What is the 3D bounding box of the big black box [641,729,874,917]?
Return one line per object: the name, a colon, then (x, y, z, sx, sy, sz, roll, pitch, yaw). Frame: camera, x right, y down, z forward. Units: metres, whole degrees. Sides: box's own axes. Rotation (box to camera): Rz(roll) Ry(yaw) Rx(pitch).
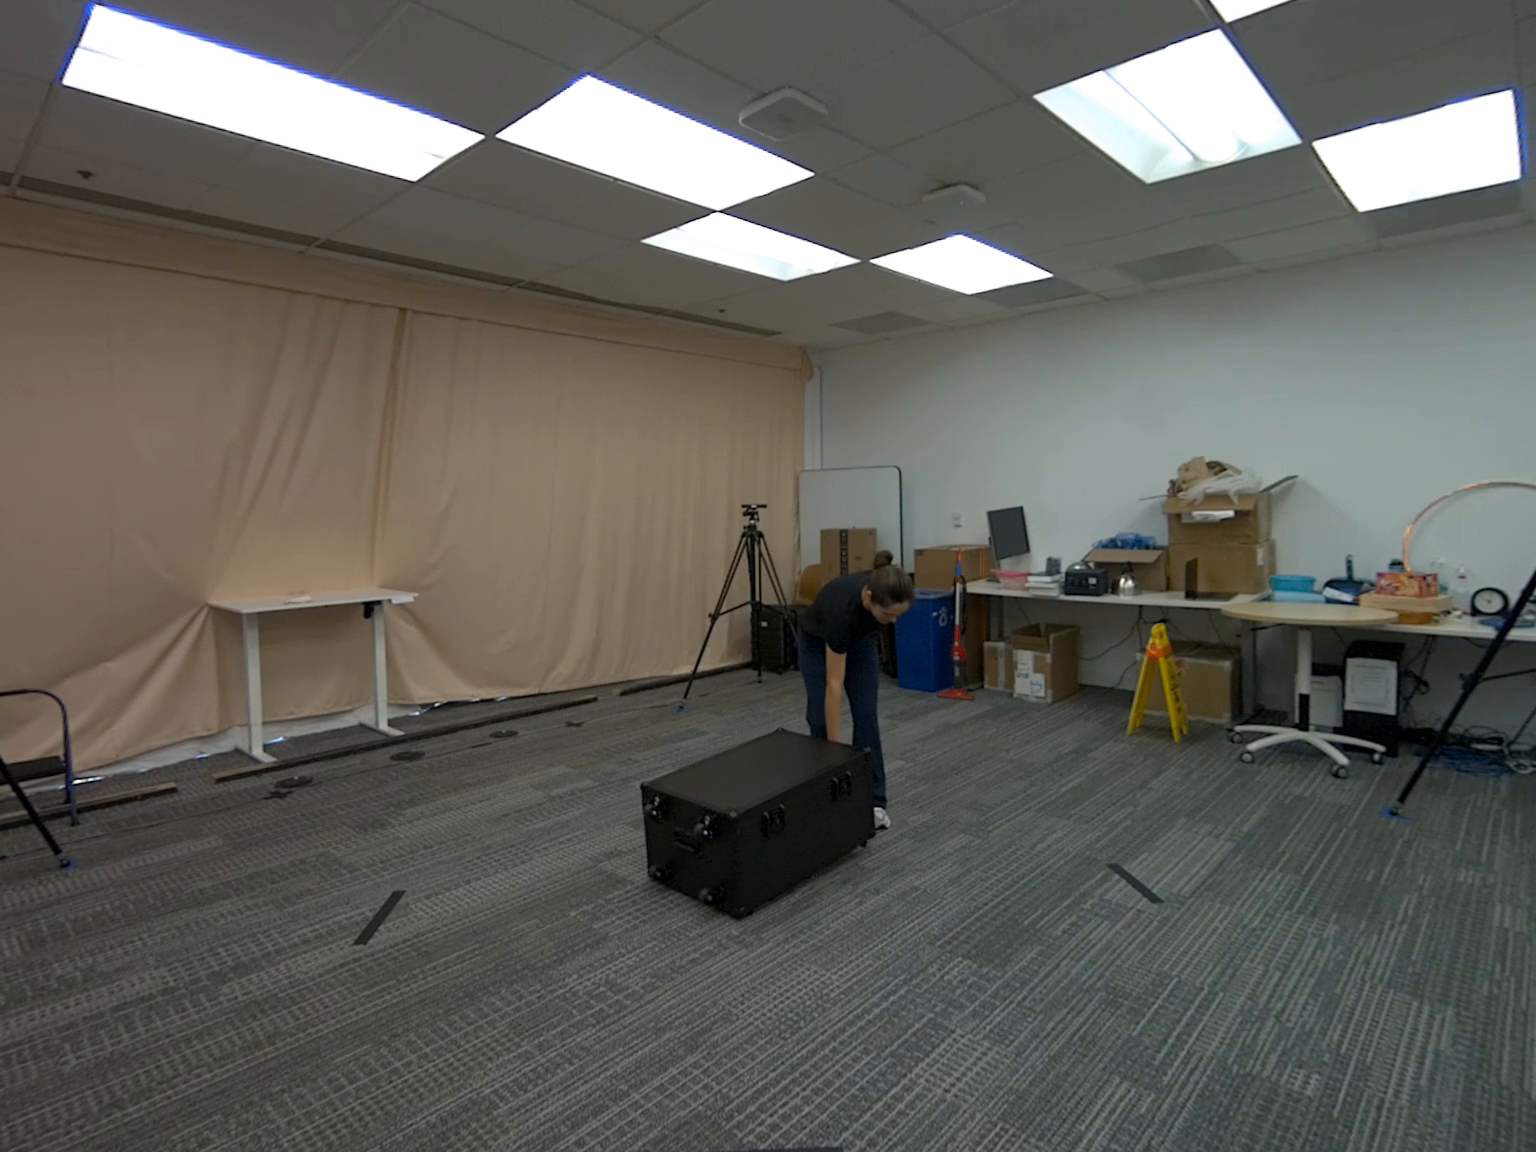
big black box: (-0.036, 0.913, 3.202, 0.538, 0.395, 0.837, 2, 9, 44)
